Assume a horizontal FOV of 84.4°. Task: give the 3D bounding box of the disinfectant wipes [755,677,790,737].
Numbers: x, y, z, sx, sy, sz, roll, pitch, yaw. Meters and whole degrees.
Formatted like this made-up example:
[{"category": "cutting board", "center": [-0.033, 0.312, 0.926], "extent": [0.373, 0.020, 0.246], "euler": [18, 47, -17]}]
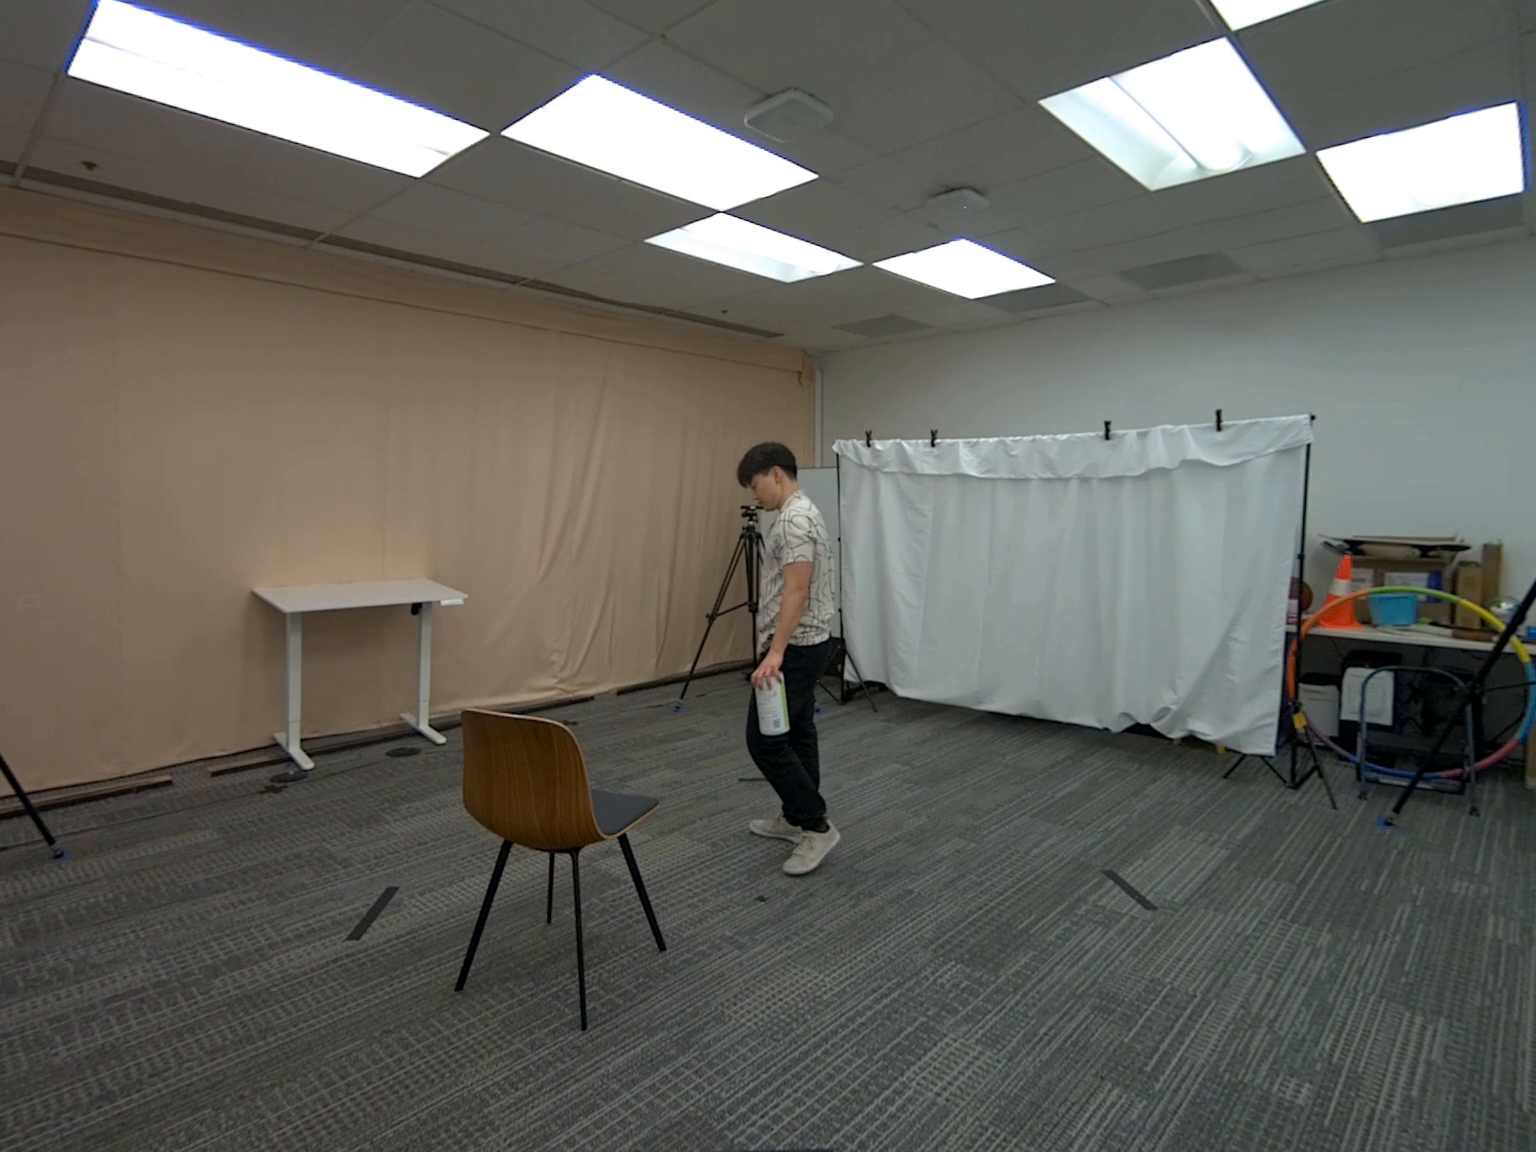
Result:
[{"category": "disinfectant wipes", "center": [0.014, 0.469, 3.095], "extent": [0.118, 0.217, 0.118], "euler": [-4, 4, -2]}]
